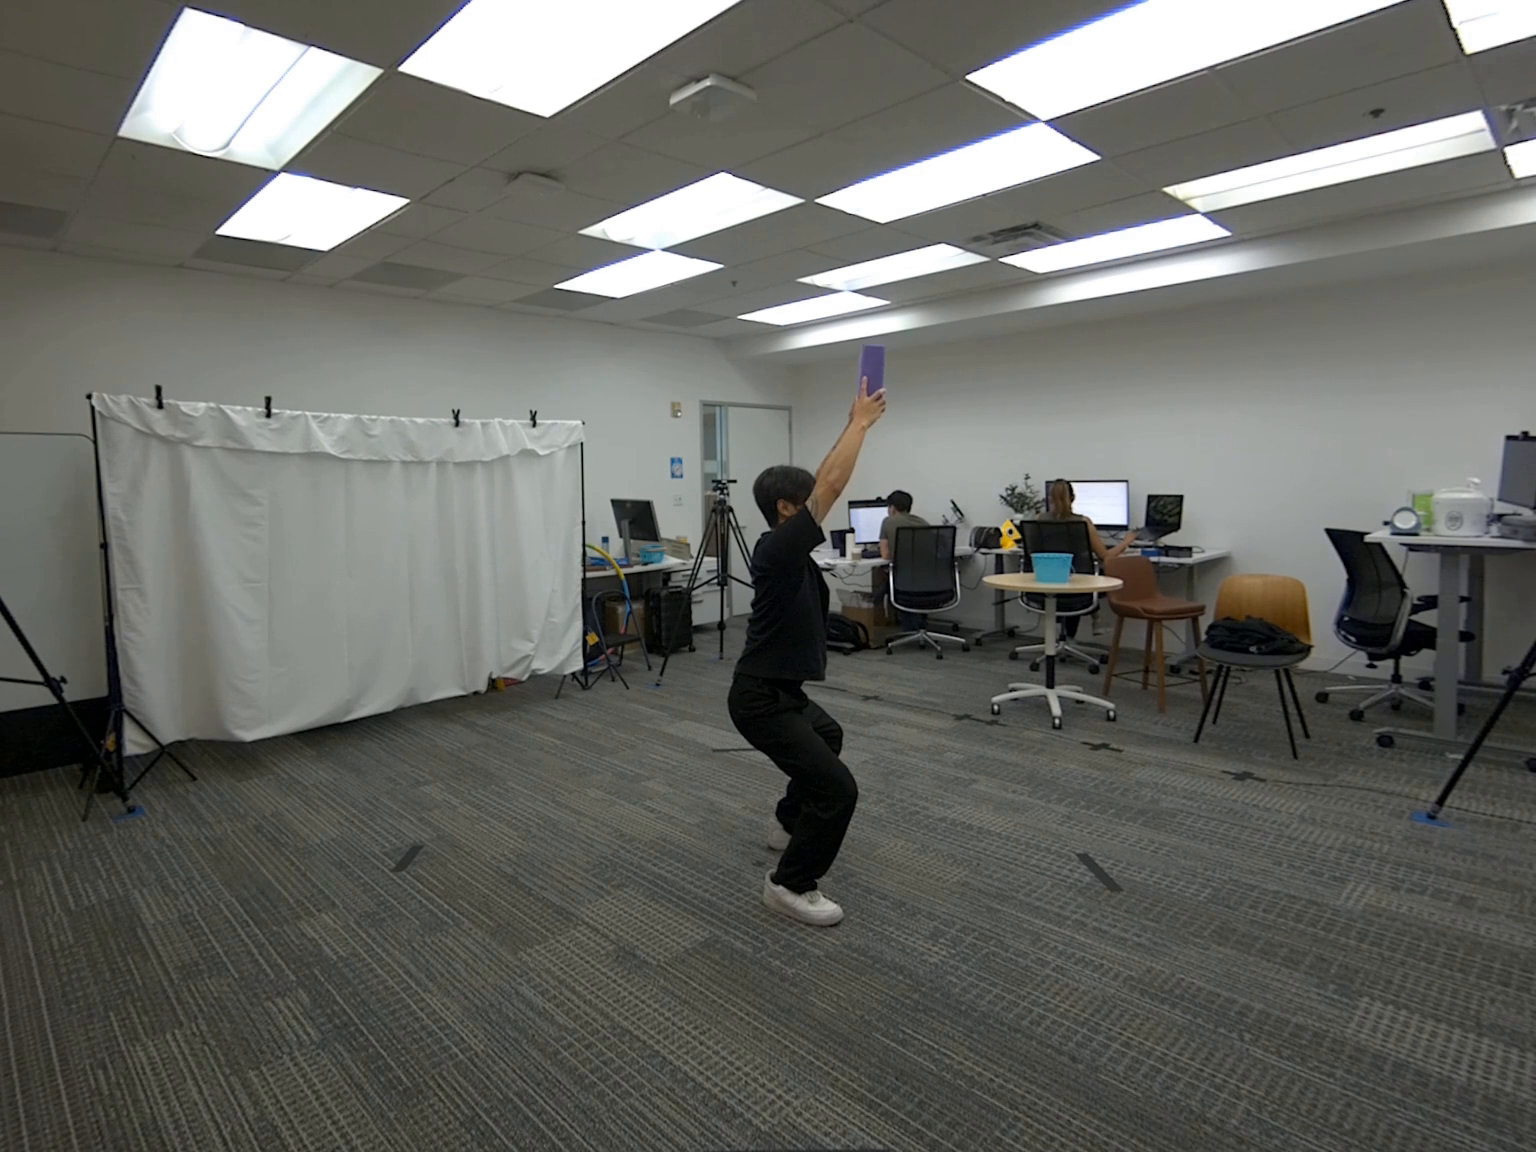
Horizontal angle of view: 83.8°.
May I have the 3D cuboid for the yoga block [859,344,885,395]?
[{"bbox_3d":[0.356,-0.665,2.909,0.077,0.229,0.148,3,0,4],"label":"yoga block"}]
